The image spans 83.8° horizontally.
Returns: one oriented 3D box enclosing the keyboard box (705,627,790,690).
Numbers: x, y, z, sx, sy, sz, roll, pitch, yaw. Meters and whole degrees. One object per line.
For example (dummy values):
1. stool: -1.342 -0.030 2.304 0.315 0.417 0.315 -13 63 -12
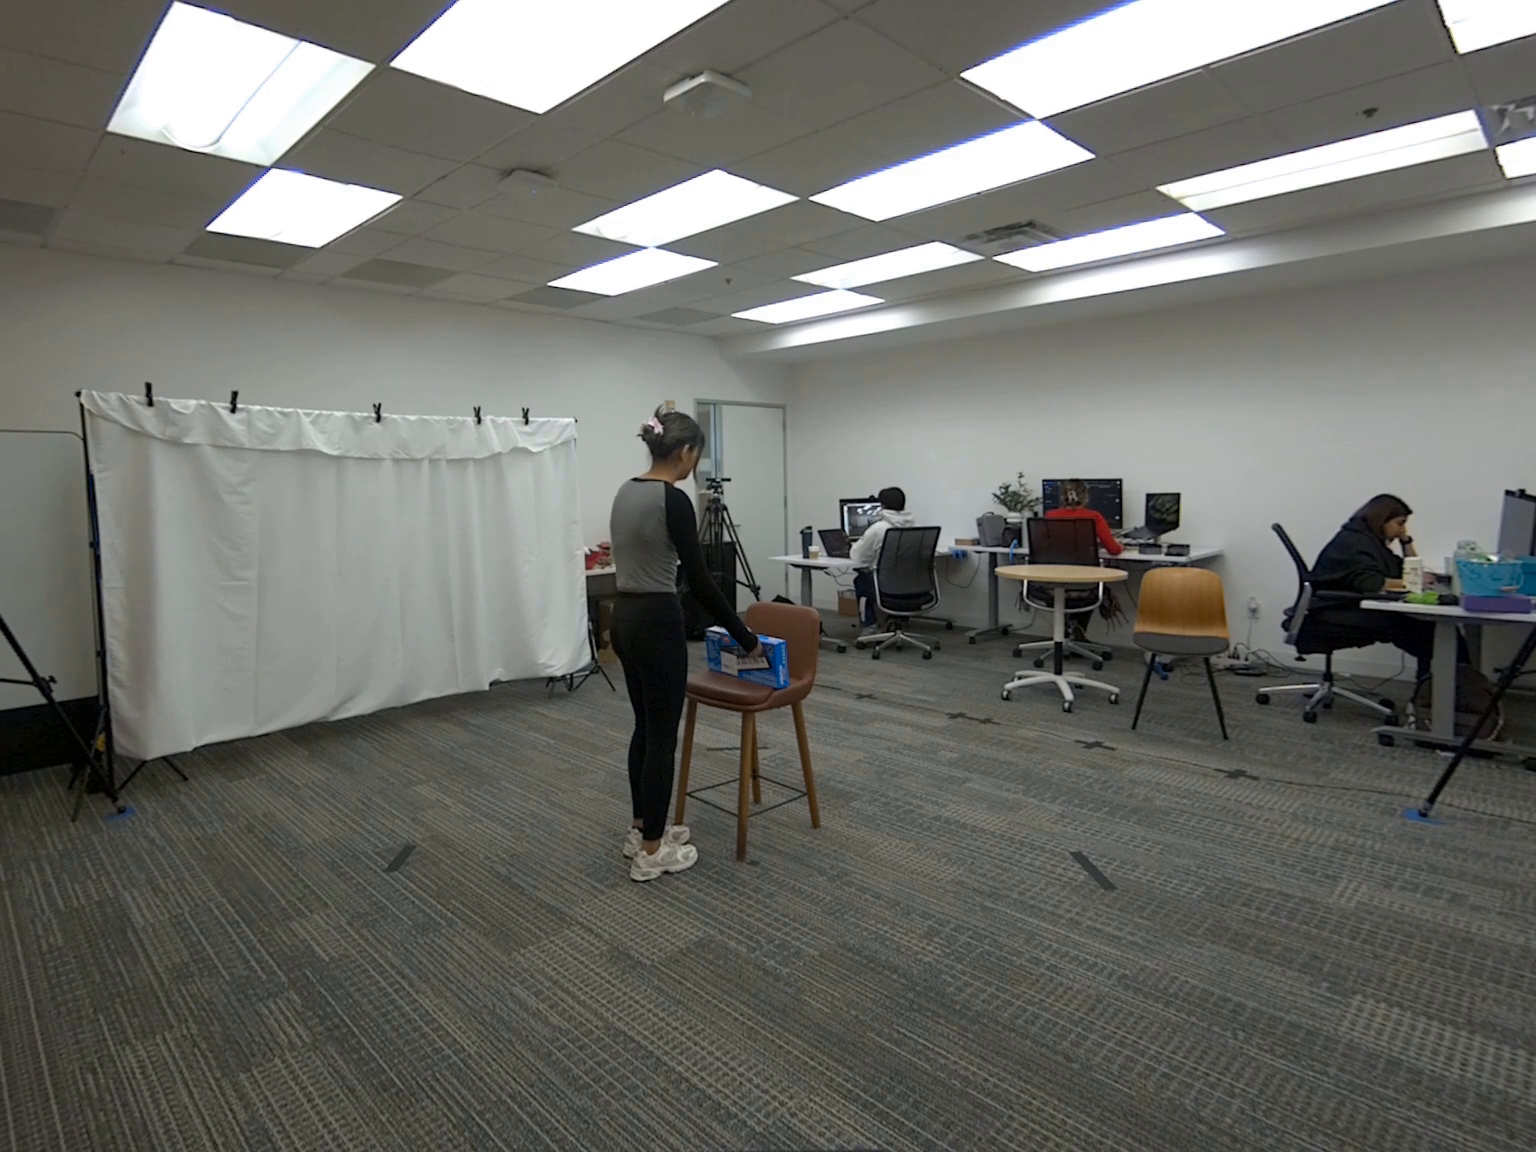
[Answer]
1. keyboard box: -0.089 0.314 3.354 0.058 0.175 0.450 -11 10 -38
